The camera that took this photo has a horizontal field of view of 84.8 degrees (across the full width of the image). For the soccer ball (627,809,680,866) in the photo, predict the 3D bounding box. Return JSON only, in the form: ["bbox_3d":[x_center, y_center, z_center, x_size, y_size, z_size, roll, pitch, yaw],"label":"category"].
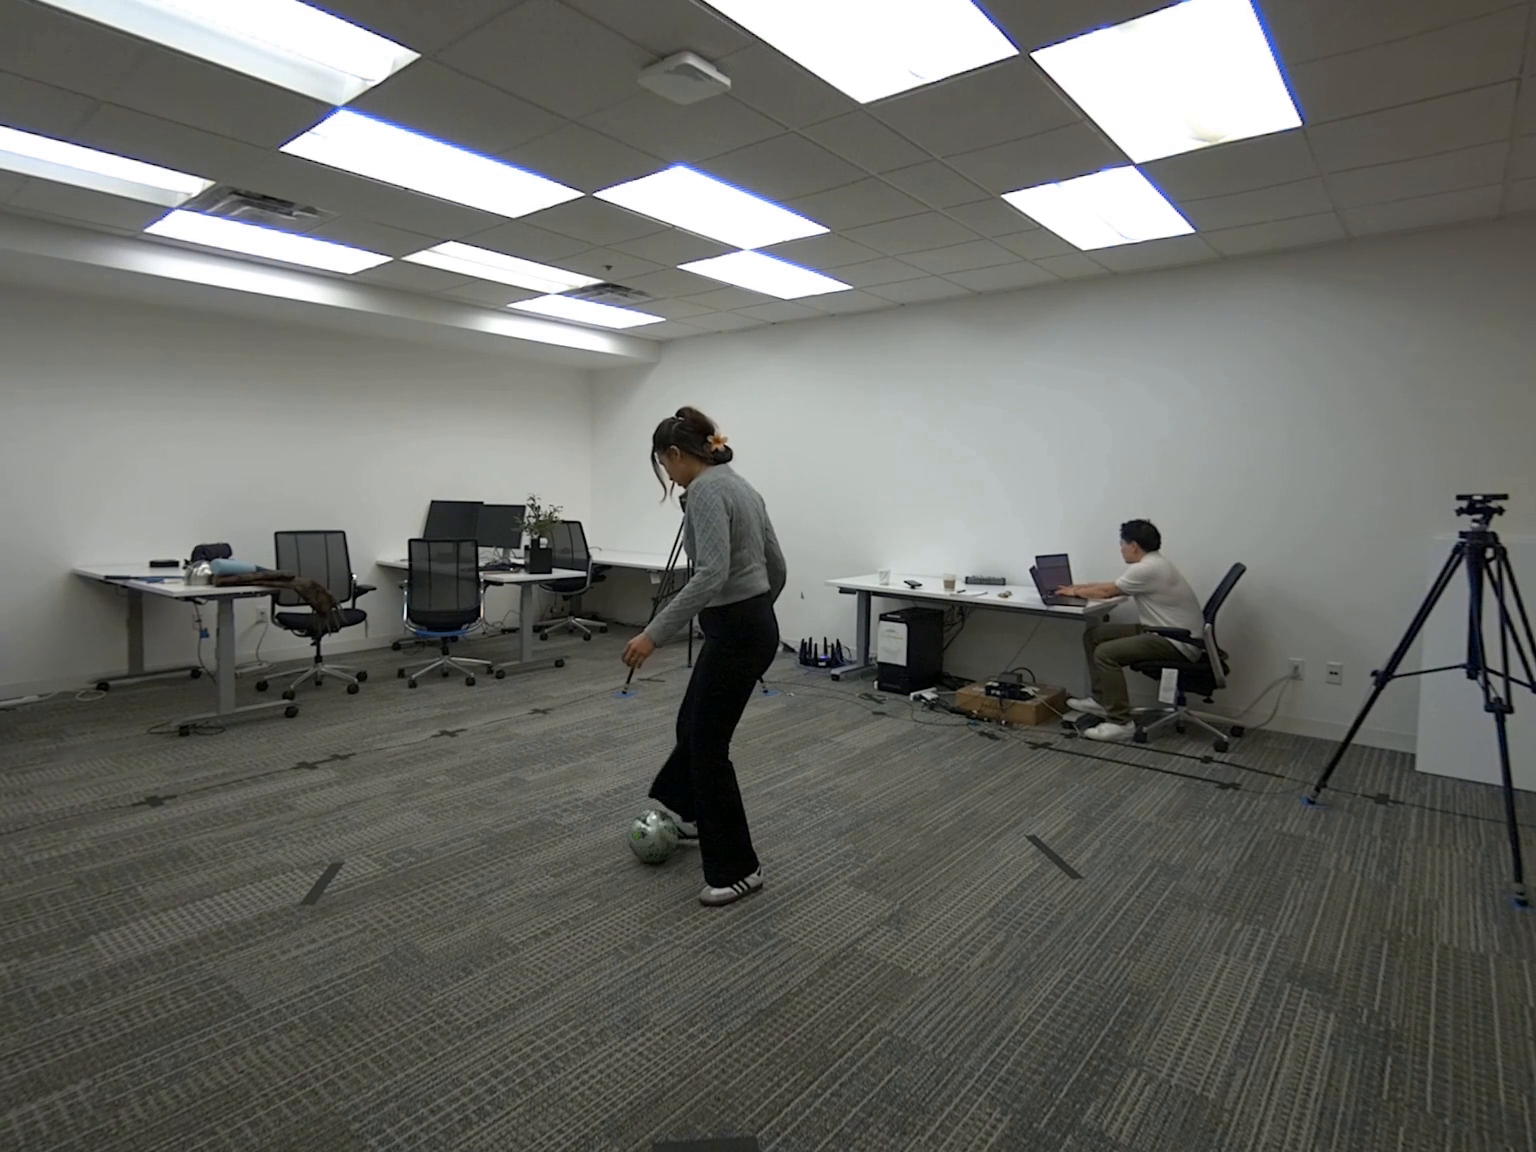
[{"bbox_3d":[-0.440,0.961,3.170,0.187,0.187,0.188,1,4,-2],"label":"soccer ball"}]
